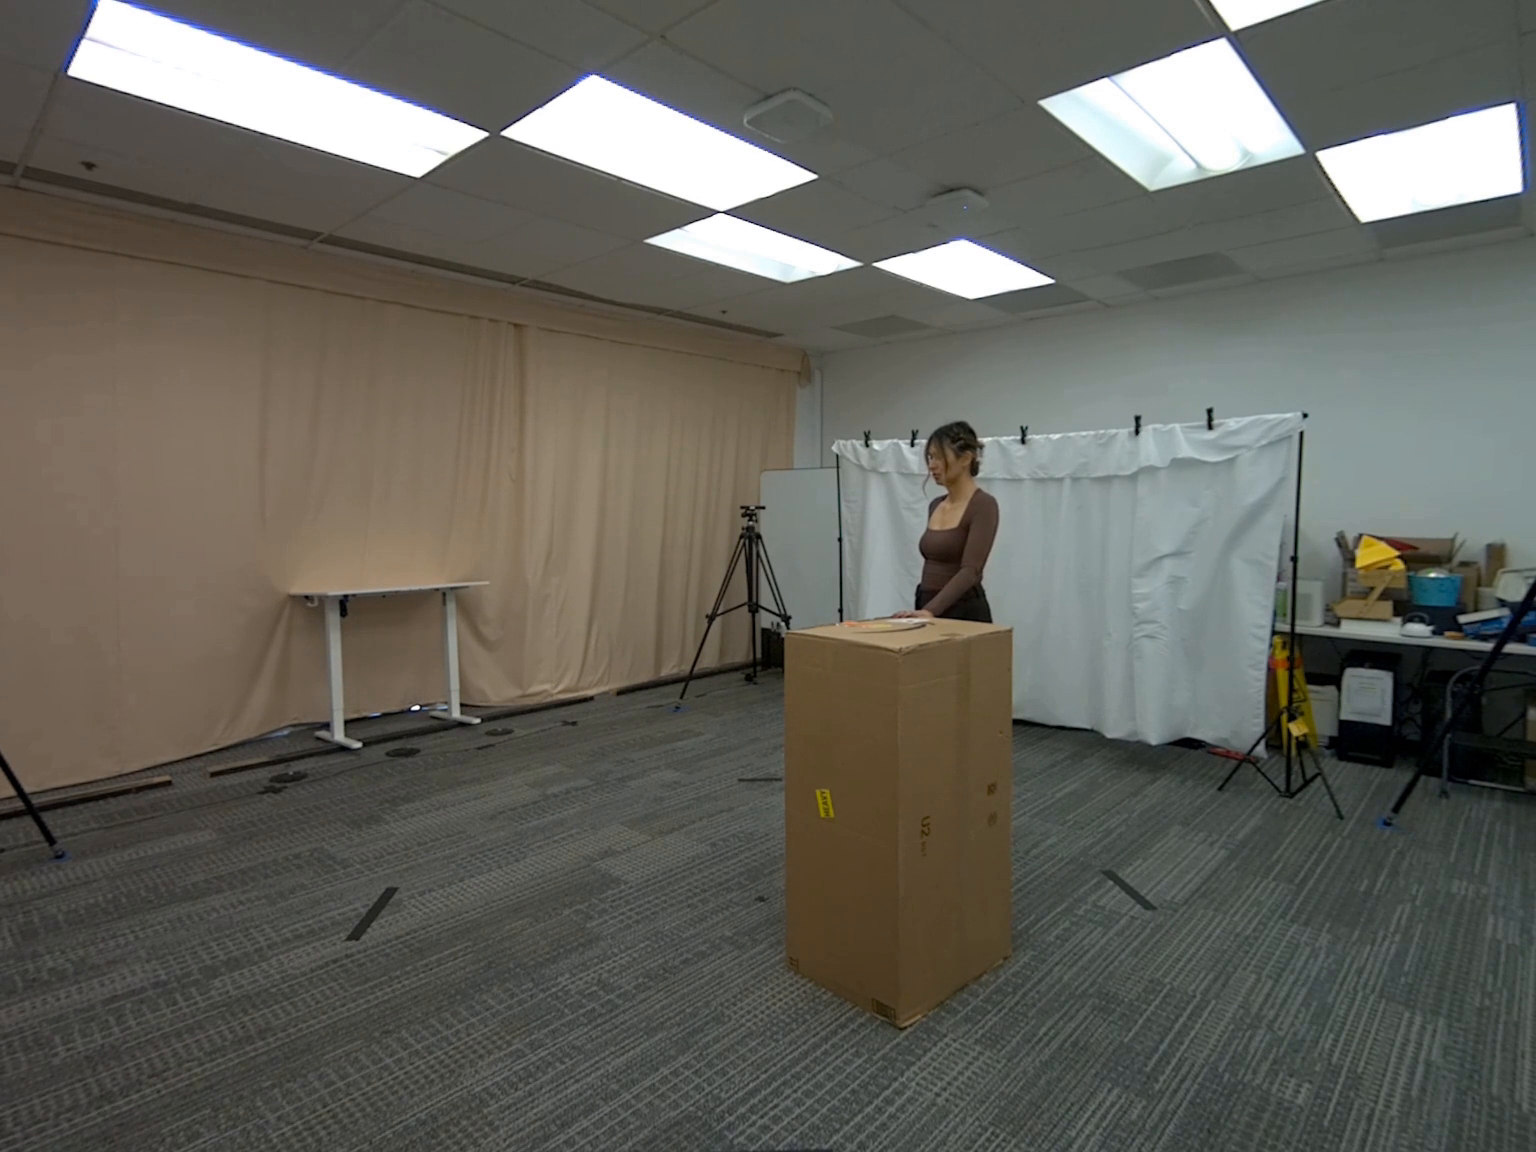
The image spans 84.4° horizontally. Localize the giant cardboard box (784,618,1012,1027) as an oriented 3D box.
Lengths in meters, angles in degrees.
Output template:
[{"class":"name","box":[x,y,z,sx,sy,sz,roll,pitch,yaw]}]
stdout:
[{"class":"giant cardboard box","box":[0.404,0.670,2.553,0.566,1.025,0.461,-3,3,-41]}]
